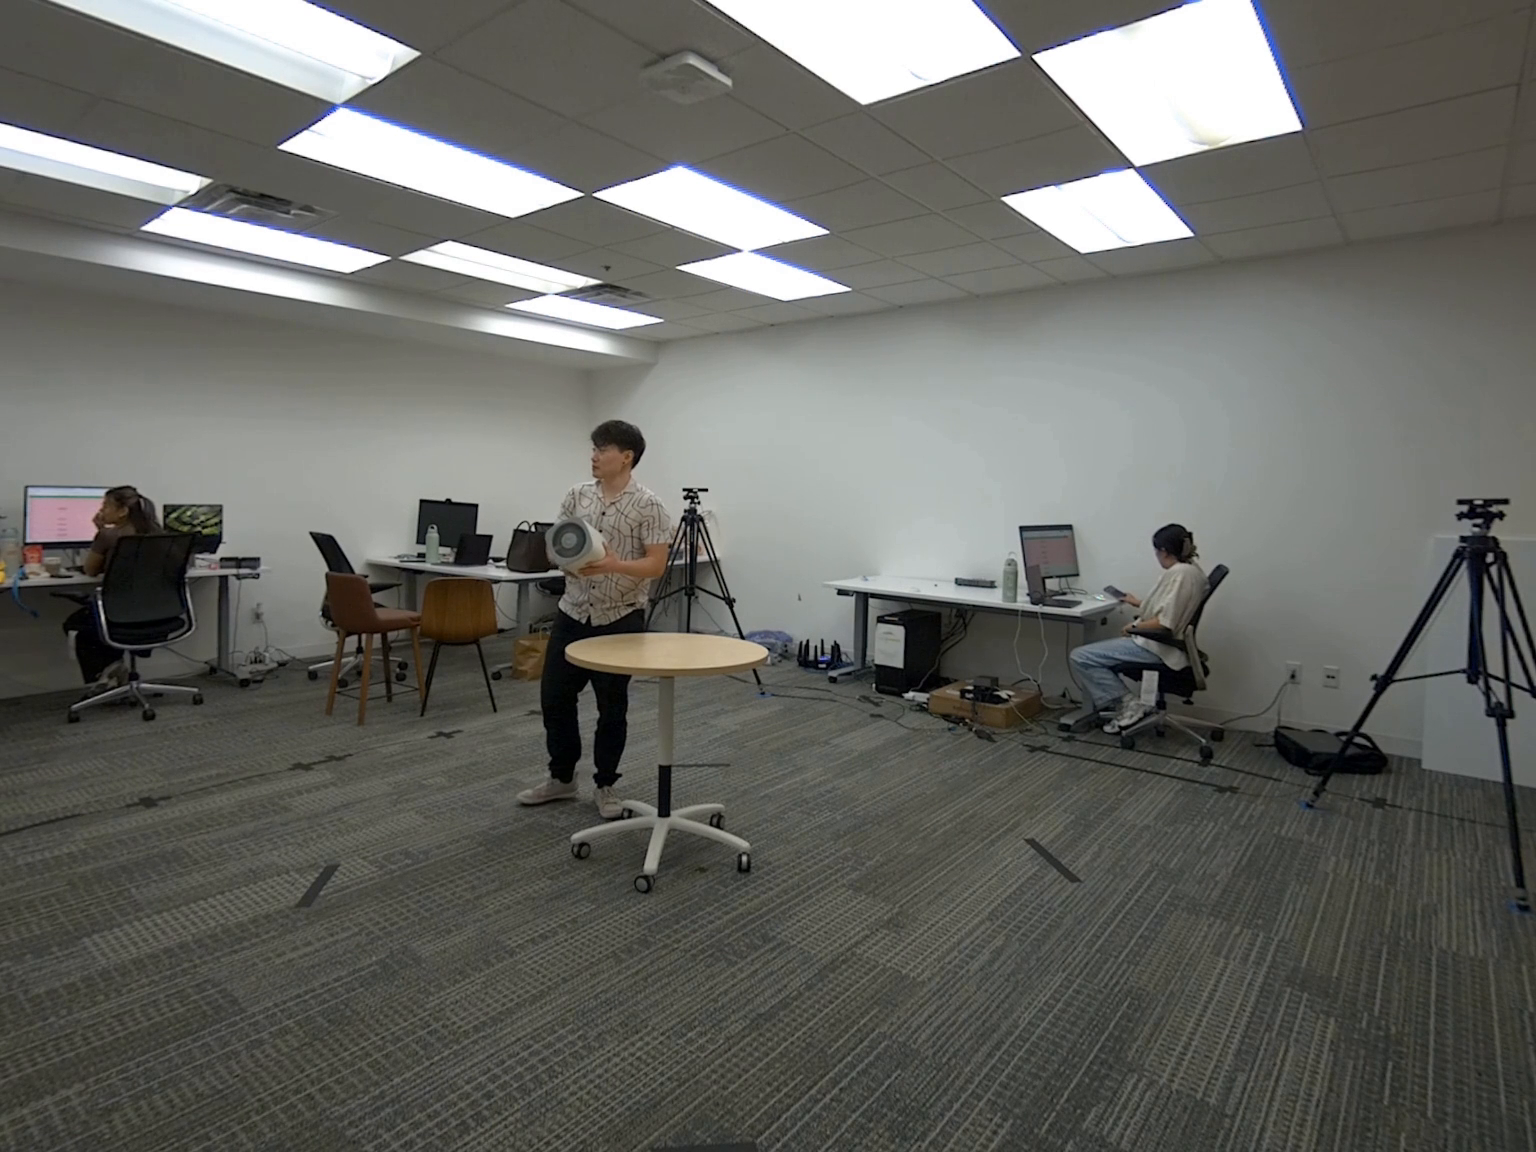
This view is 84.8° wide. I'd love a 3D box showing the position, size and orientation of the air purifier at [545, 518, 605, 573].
[{"bbox_3d":[-0.767,-0.113,3.370,0.172,0.175,0.259,-25,-15,2],"label":"air purifier"}]
